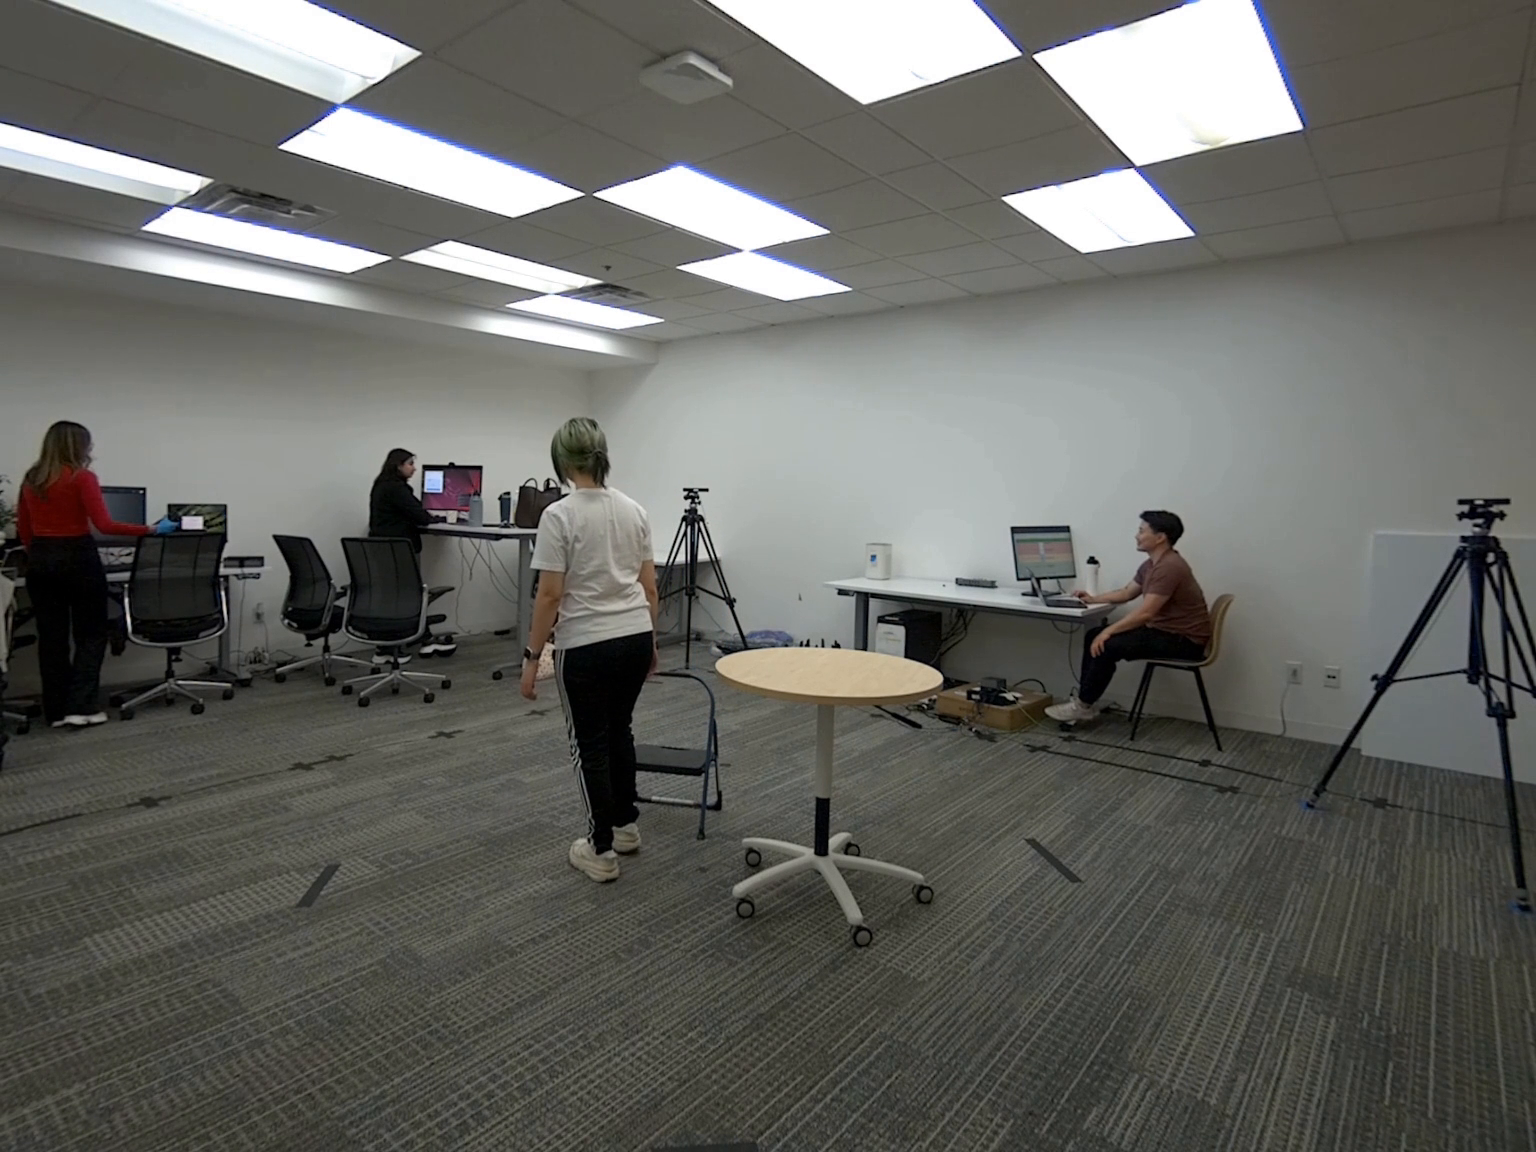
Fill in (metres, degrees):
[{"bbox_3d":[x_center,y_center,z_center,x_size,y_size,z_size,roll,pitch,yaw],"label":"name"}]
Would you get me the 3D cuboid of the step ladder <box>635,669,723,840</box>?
[{"bbox_3d":[-0.432,0.718,3.576,0.437,0.604,0.345,2,4,13],"label":"step ladder"}]
